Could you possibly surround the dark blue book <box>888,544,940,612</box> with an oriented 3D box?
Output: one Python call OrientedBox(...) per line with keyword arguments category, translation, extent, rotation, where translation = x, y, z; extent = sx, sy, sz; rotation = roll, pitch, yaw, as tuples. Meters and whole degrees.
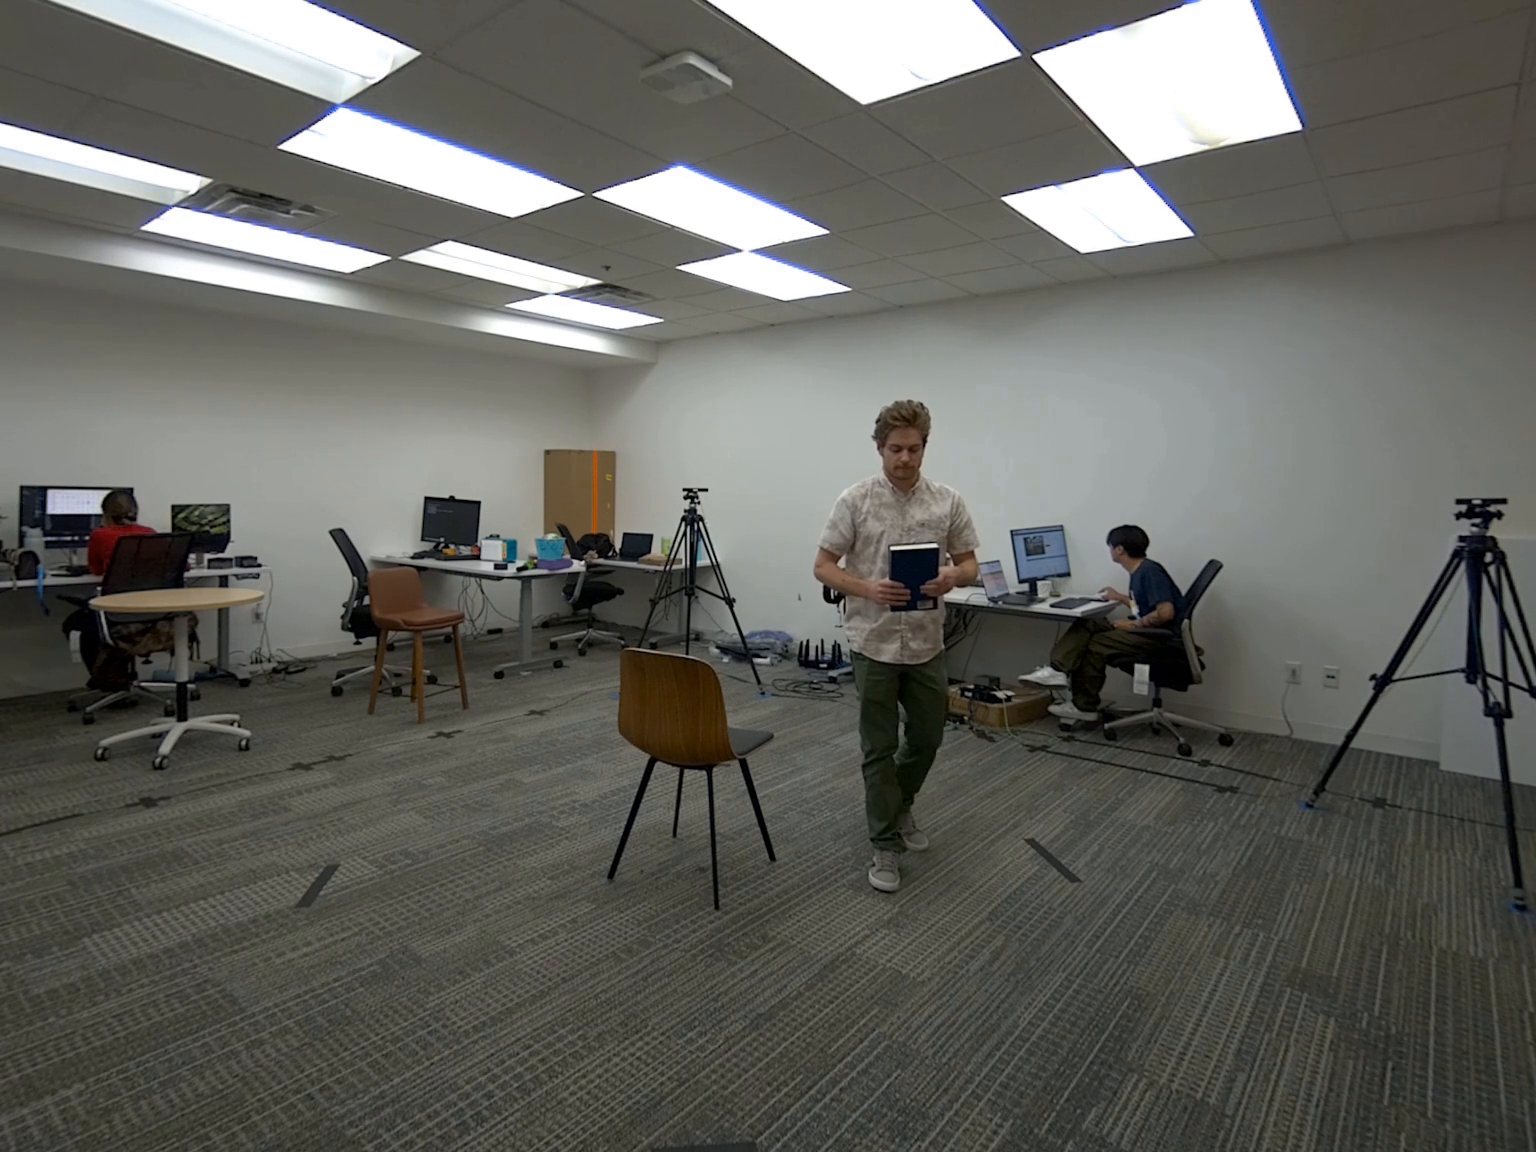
OrientedBox(category="dark blue book", translation=(0.488, -0.003, 2.890), extent=(0.164, 0.239, 0.046), rotation=(-2, 28, 3))
